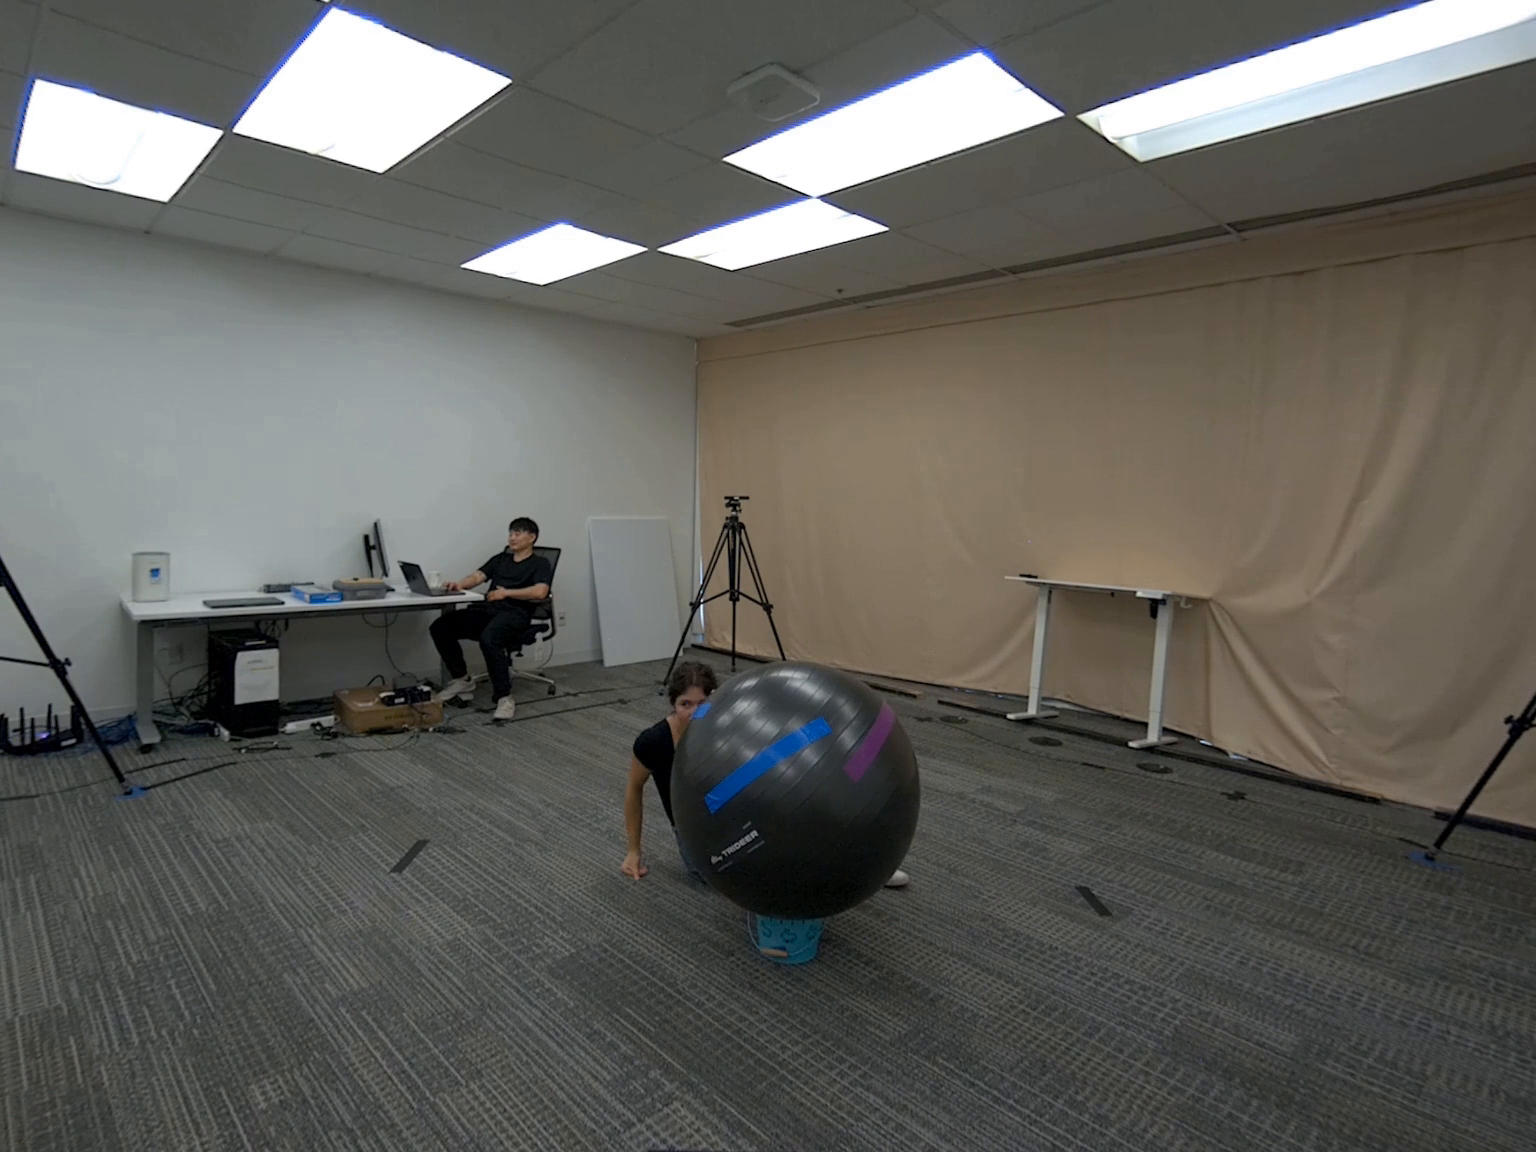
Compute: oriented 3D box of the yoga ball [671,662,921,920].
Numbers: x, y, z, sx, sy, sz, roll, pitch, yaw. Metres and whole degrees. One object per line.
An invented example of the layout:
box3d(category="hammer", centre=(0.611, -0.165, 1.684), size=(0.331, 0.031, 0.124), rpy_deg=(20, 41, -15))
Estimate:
box3d(category="yoga ball", centre=(0.083, 0.647, 2.571), size=(0.757, 0.756, 0.761), rpy_deg=(1, 4, -1))
